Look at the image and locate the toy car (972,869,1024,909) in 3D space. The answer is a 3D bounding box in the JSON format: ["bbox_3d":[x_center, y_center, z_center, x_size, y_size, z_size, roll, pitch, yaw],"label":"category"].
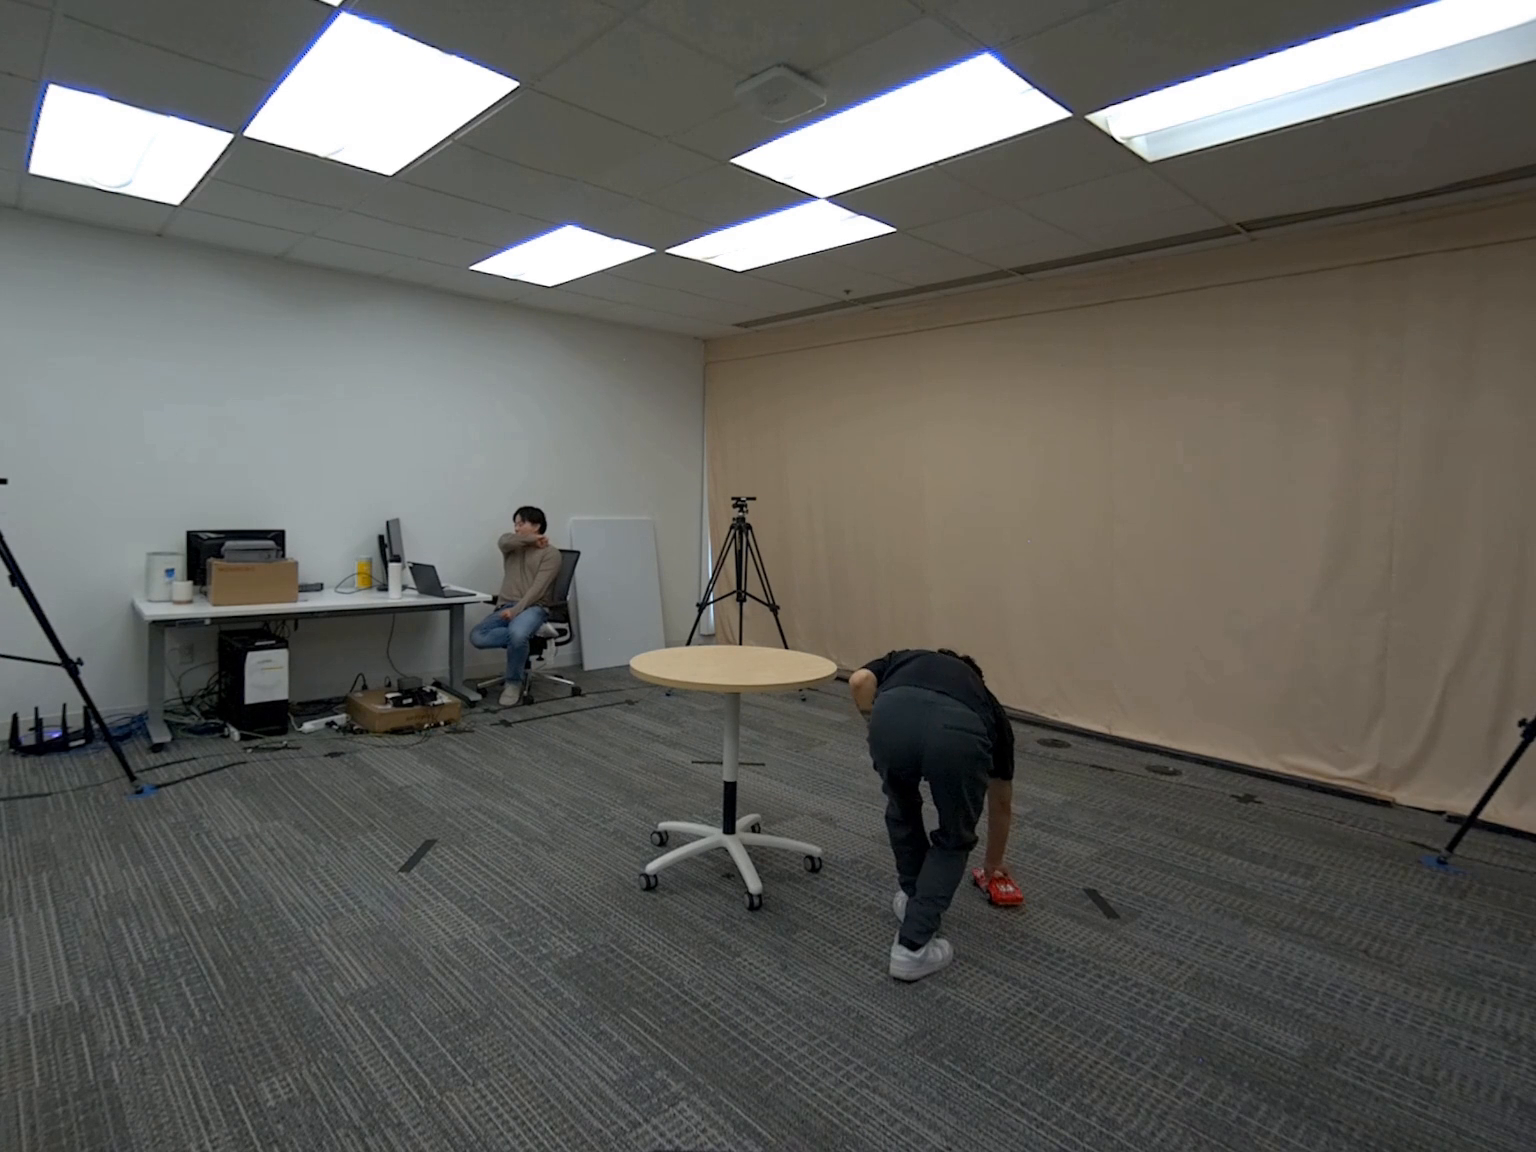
[{"bbox_3d":[0.810,1.113,3.001,0.129,0.083,0.255,3,-6,-7],"label":"toy car"}]
